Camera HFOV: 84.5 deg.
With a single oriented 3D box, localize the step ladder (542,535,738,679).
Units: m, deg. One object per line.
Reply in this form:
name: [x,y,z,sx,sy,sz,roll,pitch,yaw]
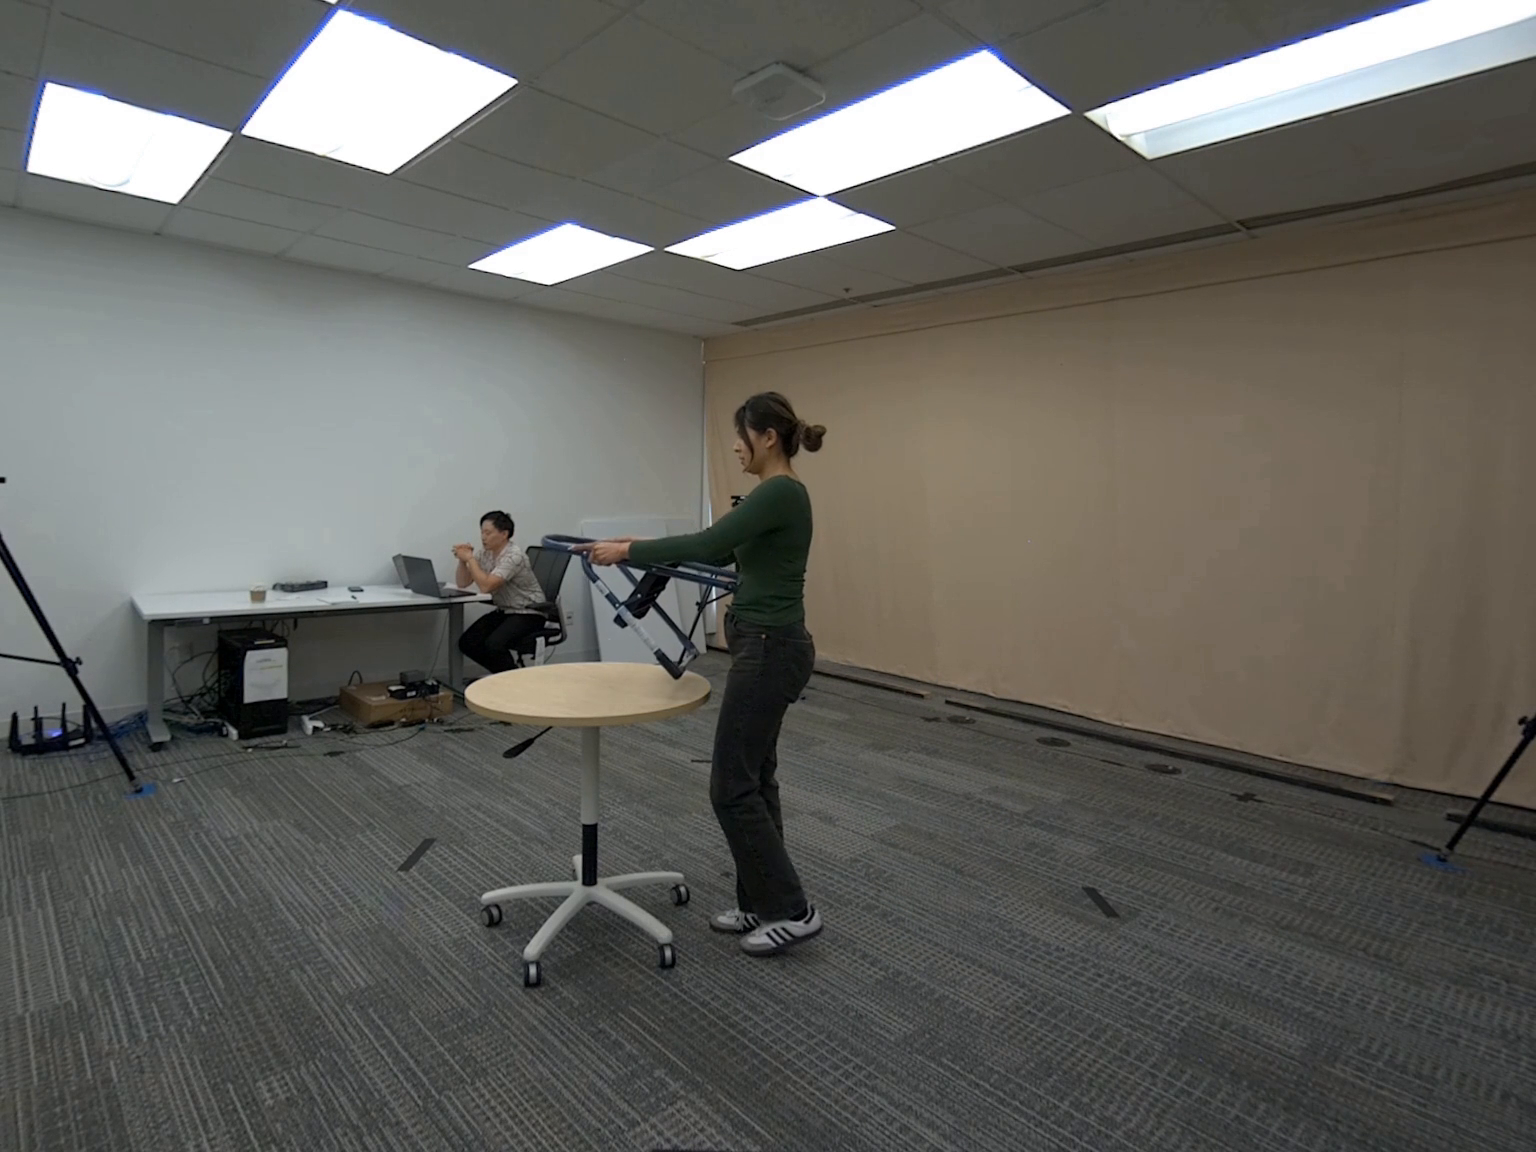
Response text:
step ladder: [-0.418,-0.013,2.678,0.608,0.349,0.430,34,4,2]
